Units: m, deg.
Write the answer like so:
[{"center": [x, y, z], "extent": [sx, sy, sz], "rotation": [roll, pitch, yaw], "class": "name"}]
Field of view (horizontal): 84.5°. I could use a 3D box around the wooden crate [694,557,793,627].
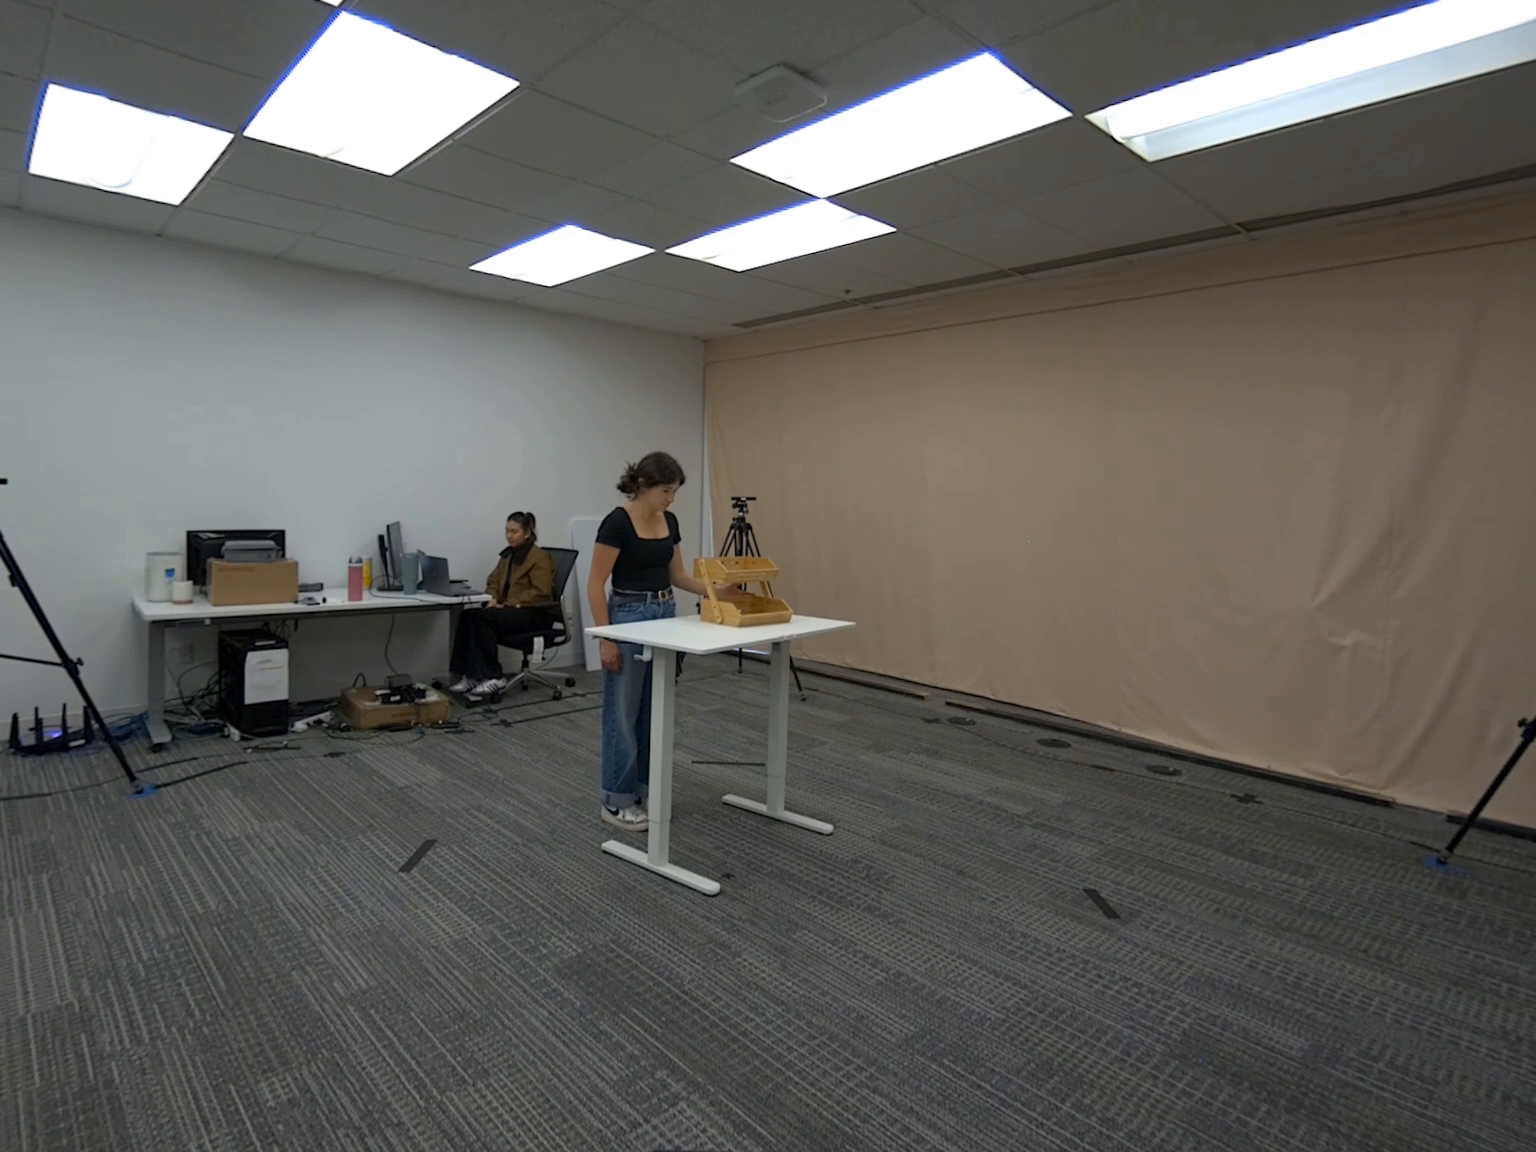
[{"center": [-0.114, 0.055, 3.531], "extent": [0.317, 0.273, 0.309], "rotation": [-2, 4, -44], "class": "wooden crate"}]
